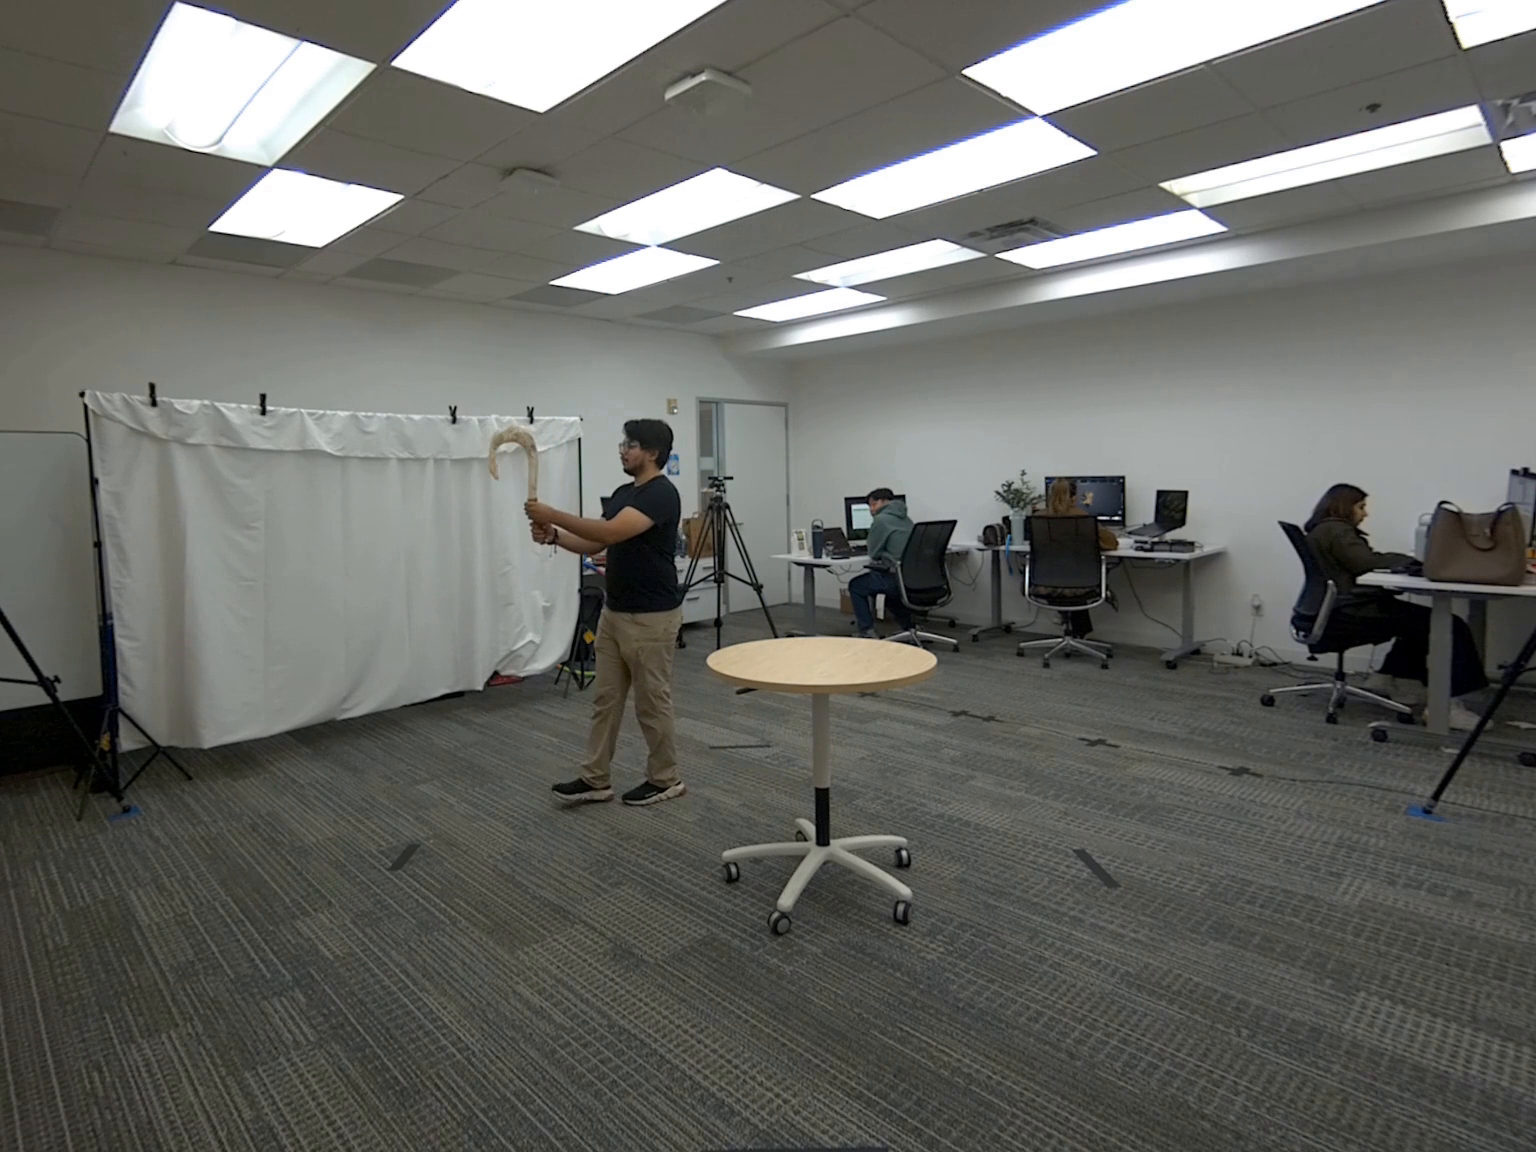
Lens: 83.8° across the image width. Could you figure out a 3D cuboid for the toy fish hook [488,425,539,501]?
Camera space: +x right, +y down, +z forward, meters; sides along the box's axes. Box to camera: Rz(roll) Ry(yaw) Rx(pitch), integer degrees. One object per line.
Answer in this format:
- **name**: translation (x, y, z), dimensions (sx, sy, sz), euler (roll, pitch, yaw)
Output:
- **toy fish hook**: translation (-1.001, -0.354, 3.454), dimensions (0.221, 0.499, 0.050), euler (-22, 18, -37)
